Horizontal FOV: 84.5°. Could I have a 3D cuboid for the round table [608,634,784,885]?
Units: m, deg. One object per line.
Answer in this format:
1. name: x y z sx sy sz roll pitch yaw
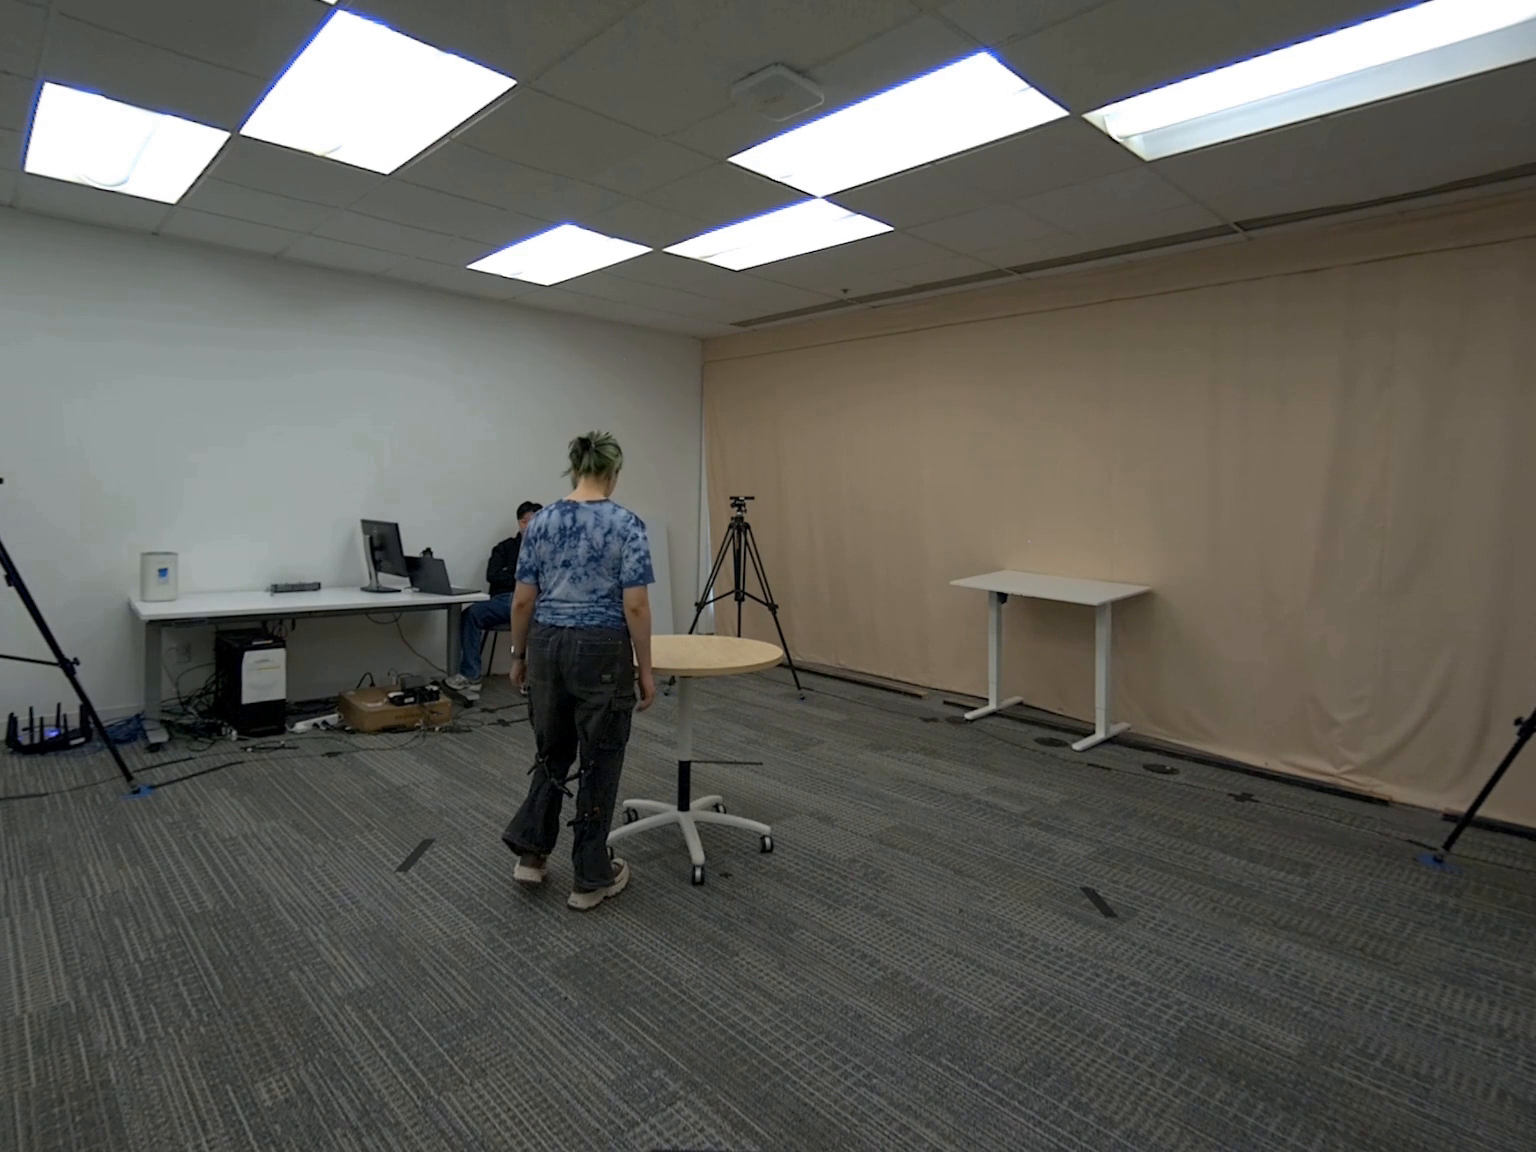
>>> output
1. round table: -0.336 0.688 3.356 0.763 0.792 0.766 1 4 -1
